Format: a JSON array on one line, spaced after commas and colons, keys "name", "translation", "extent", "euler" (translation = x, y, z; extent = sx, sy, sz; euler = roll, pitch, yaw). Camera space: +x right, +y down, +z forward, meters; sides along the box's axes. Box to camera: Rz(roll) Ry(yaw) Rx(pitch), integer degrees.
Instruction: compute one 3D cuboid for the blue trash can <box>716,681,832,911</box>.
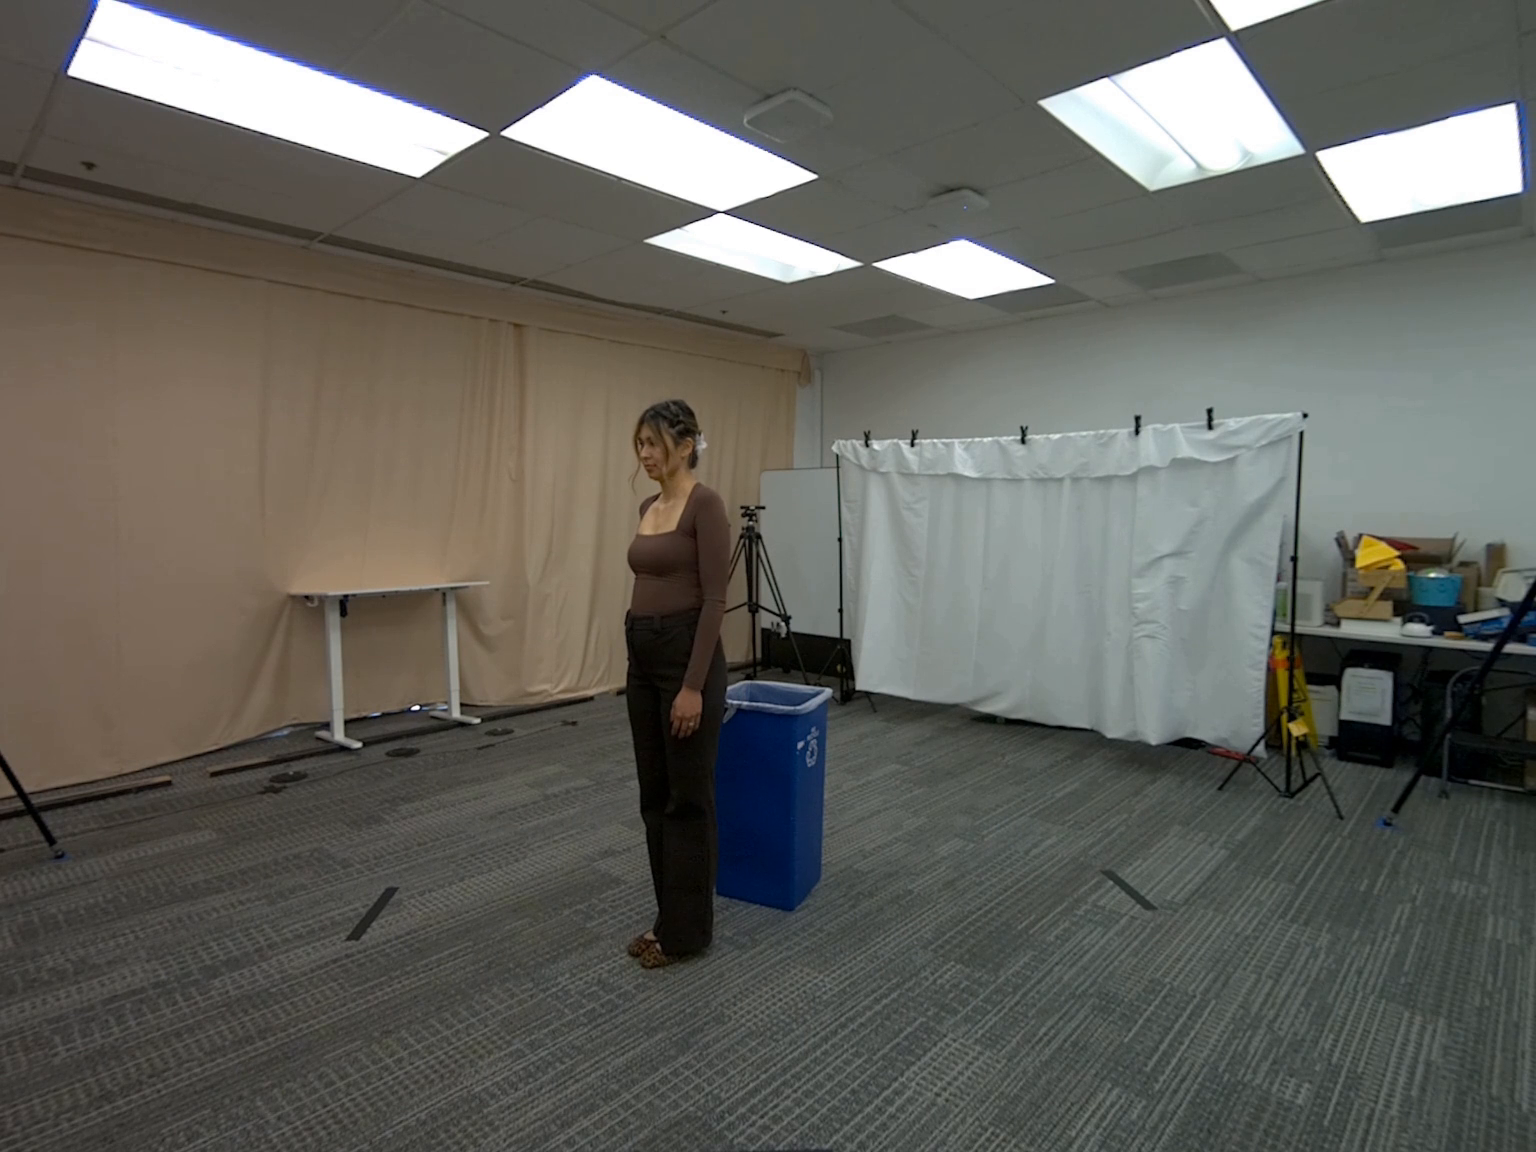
[{"name": "blue trash can", "translation": [0.004, 0.778, 3.062], "extent": [0.384, 0.712, 0.369], "euler": [3, 4, 24]}]
